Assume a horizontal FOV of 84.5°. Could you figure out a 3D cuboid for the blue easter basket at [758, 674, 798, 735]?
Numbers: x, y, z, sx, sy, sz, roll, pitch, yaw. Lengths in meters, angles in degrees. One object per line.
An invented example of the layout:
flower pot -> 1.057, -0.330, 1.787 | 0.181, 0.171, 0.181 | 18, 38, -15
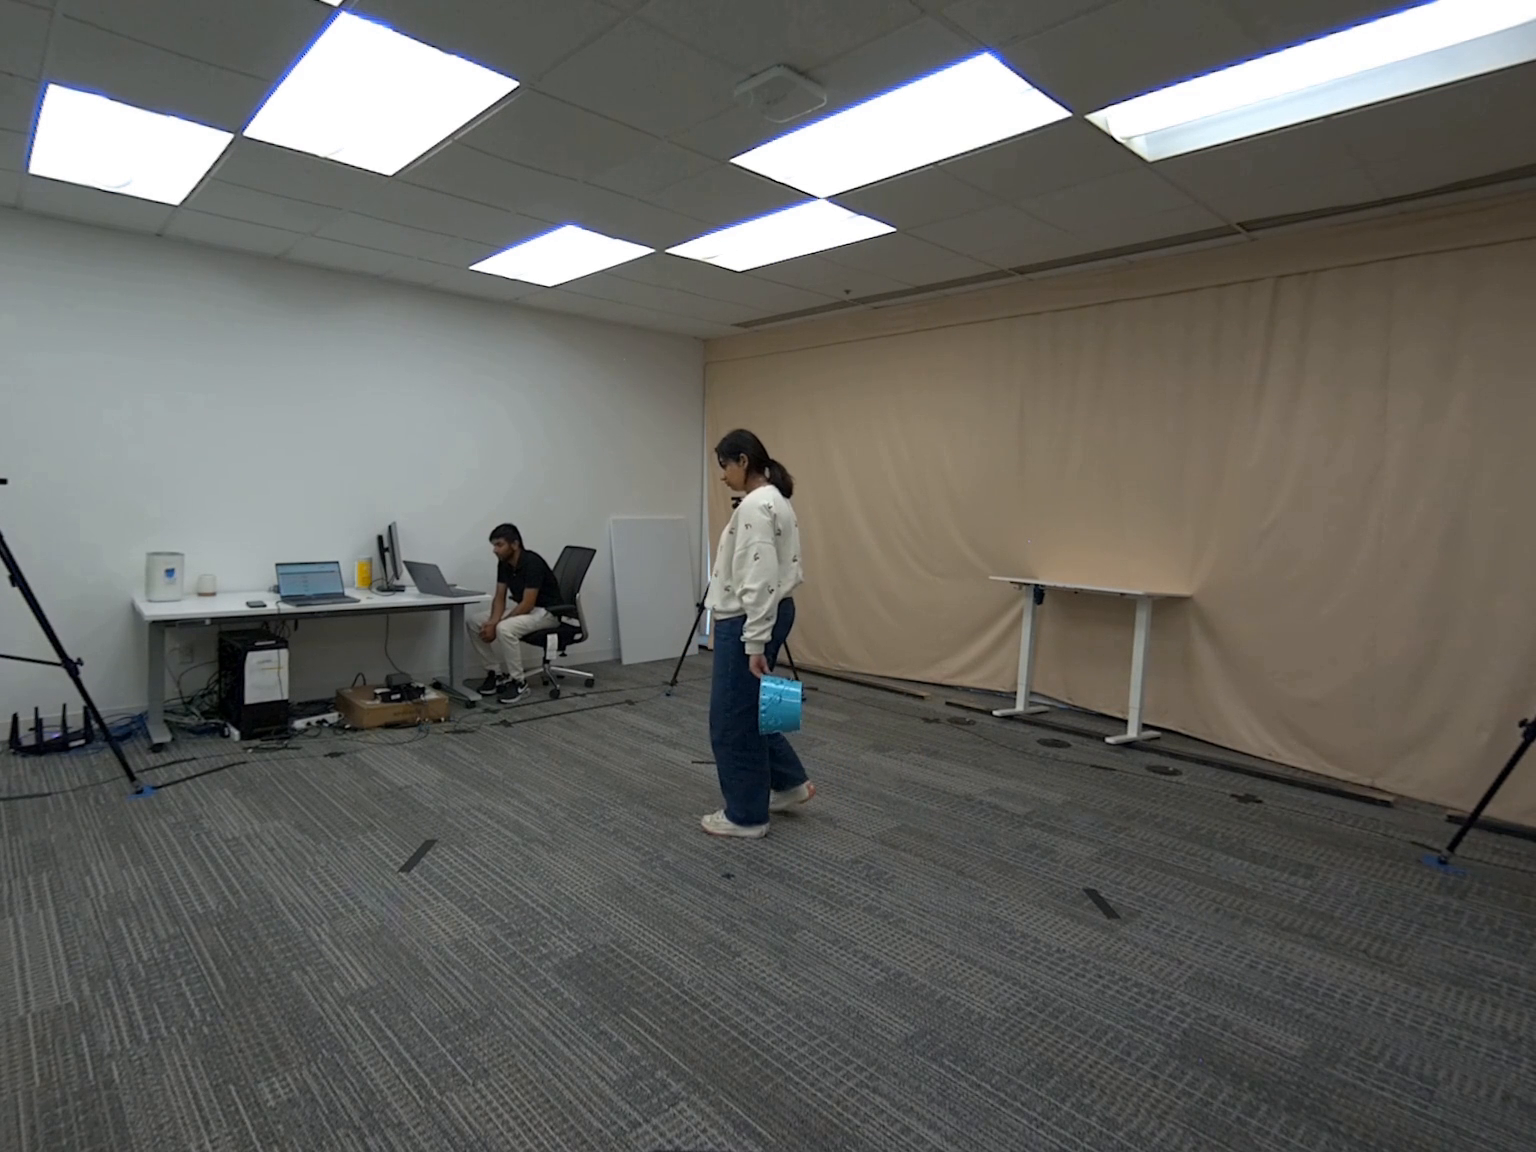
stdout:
blue easter basket -> -0.003, 0.489, 3.195 | 0.156, 0.243, 0.243 | 2, 4, 4
